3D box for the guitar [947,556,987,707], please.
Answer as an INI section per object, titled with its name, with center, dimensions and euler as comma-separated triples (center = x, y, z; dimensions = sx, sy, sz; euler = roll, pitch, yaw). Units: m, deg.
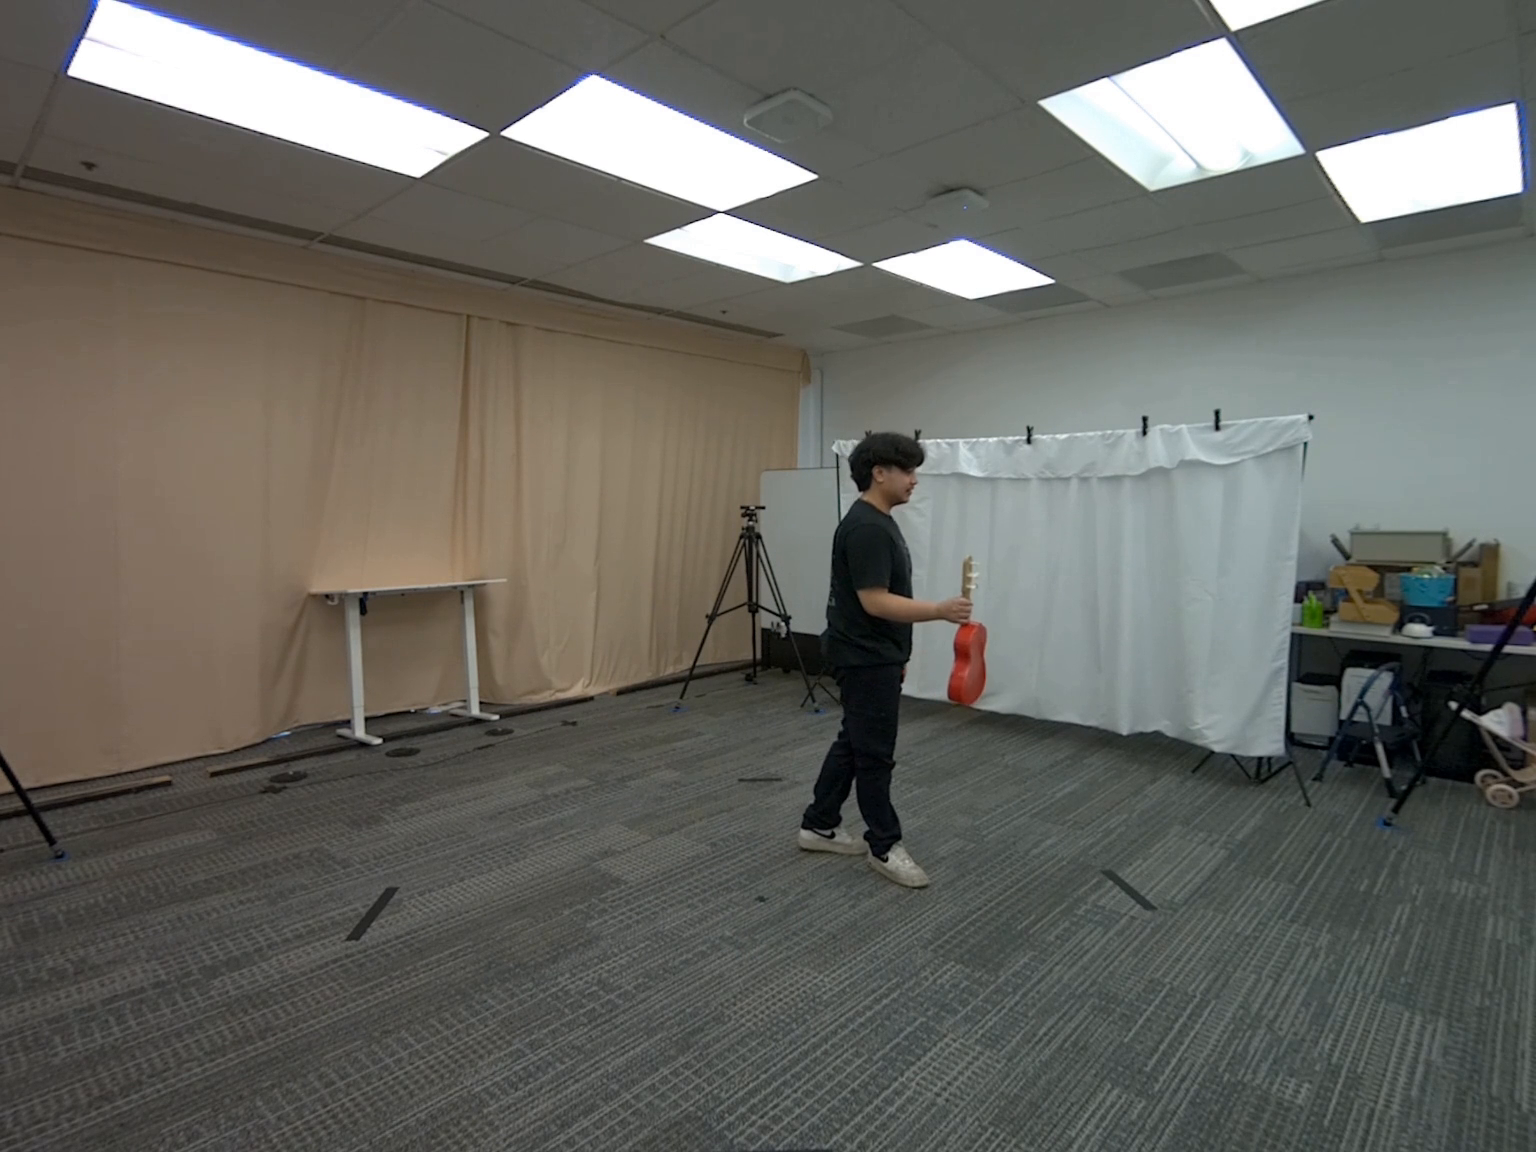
[guitar]
center = 0.656, 0.190, 2.798
dimensions = 0.073, 0.492, 0.189
euler = 8, 21, 35
